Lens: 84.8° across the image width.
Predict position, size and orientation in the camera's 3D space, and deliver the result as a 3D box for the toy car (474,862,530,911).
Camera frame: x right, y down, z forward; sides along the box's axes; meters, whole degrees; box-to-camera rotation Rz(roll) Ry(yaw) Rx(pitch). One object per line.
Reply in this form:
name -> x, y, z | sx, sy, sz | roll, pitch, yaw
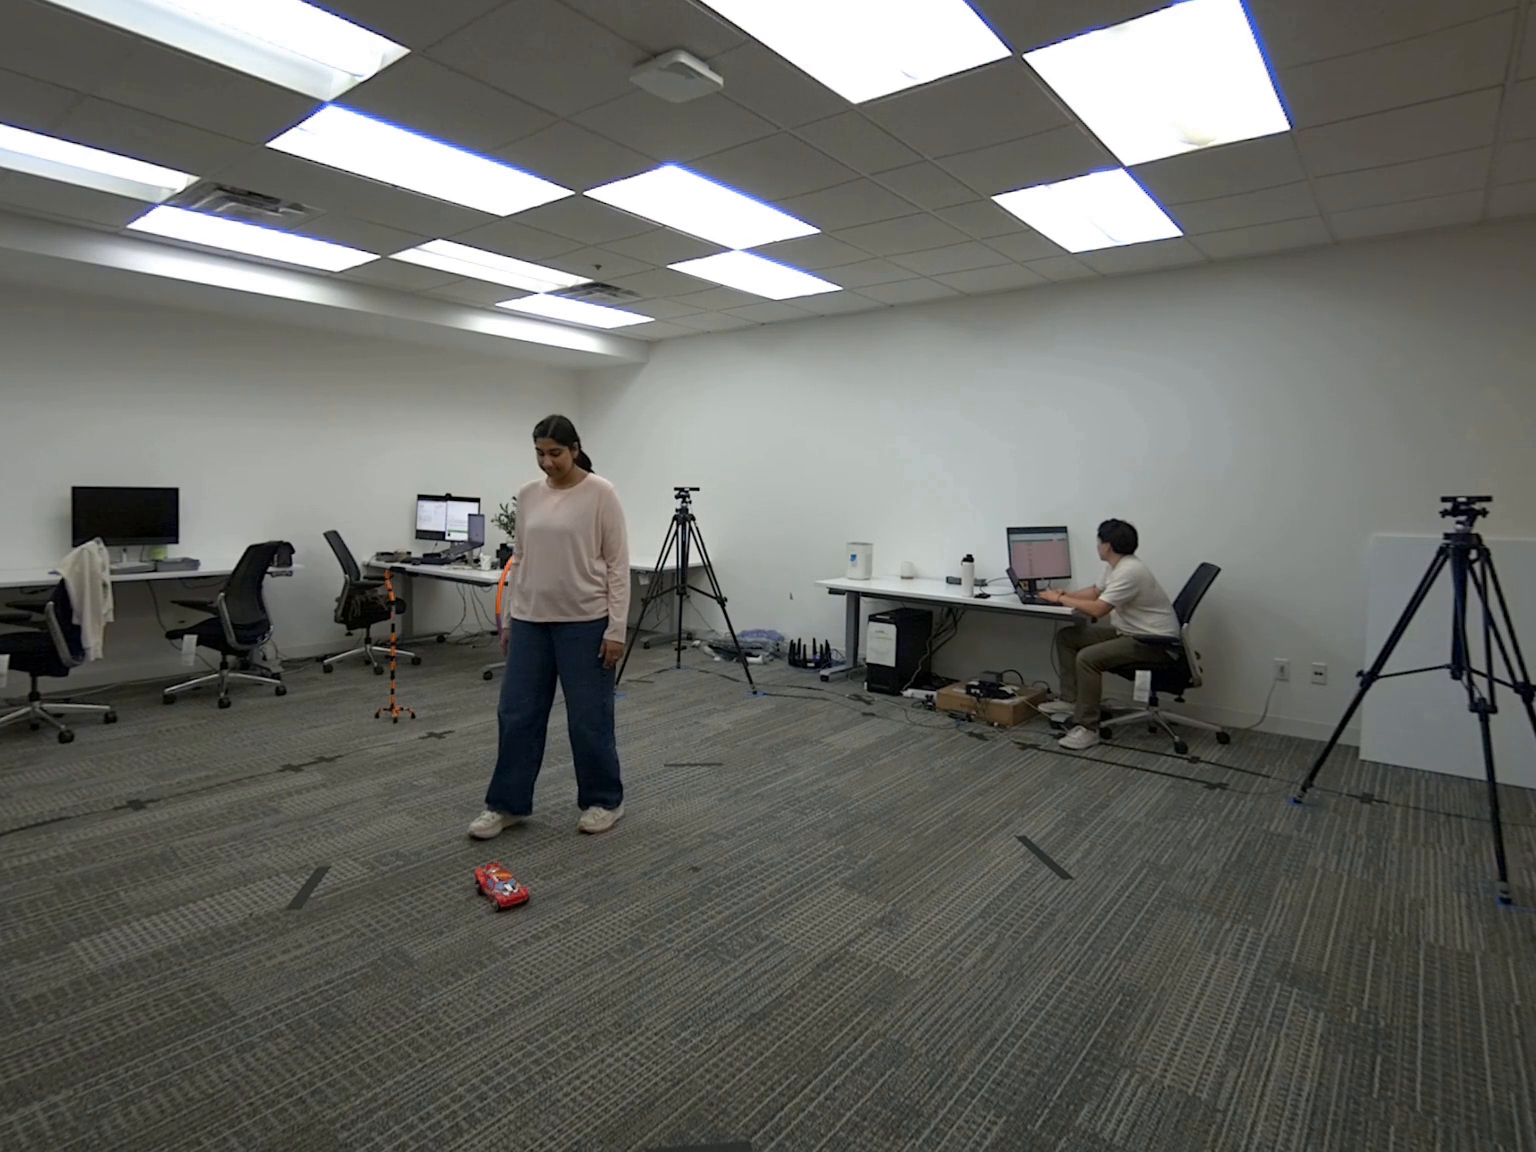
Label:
toy car -> -0.921, 1.051, 2.878 | 0.126, 0.082, 0.265 | -3, 17, -39
